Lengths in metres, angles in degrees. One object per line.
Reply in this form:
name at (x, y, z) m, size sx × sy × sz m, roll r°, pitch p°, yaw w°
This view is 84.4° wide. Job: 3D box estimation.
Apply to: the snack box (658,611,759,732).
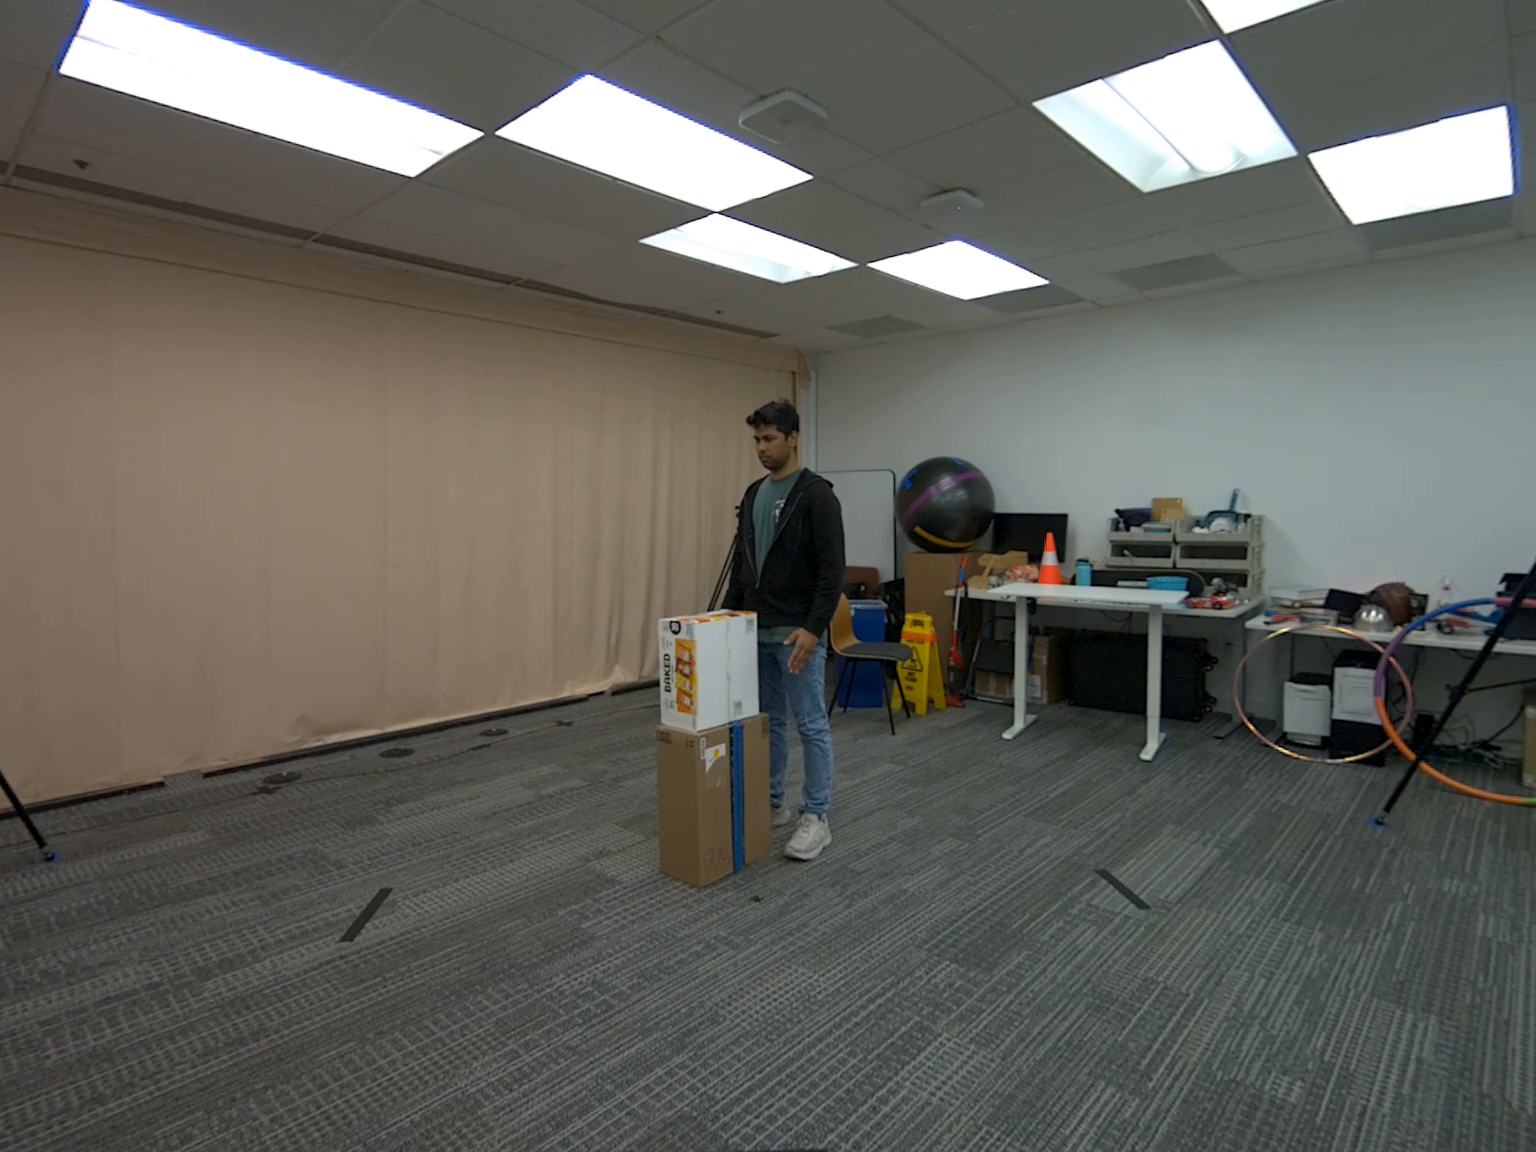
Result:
snack box at (-0.223, 0.354, 3.259) m, size 0.212 × 0.404 × 0.330 m, roll 1°, pitch 3°, yaw 44°
